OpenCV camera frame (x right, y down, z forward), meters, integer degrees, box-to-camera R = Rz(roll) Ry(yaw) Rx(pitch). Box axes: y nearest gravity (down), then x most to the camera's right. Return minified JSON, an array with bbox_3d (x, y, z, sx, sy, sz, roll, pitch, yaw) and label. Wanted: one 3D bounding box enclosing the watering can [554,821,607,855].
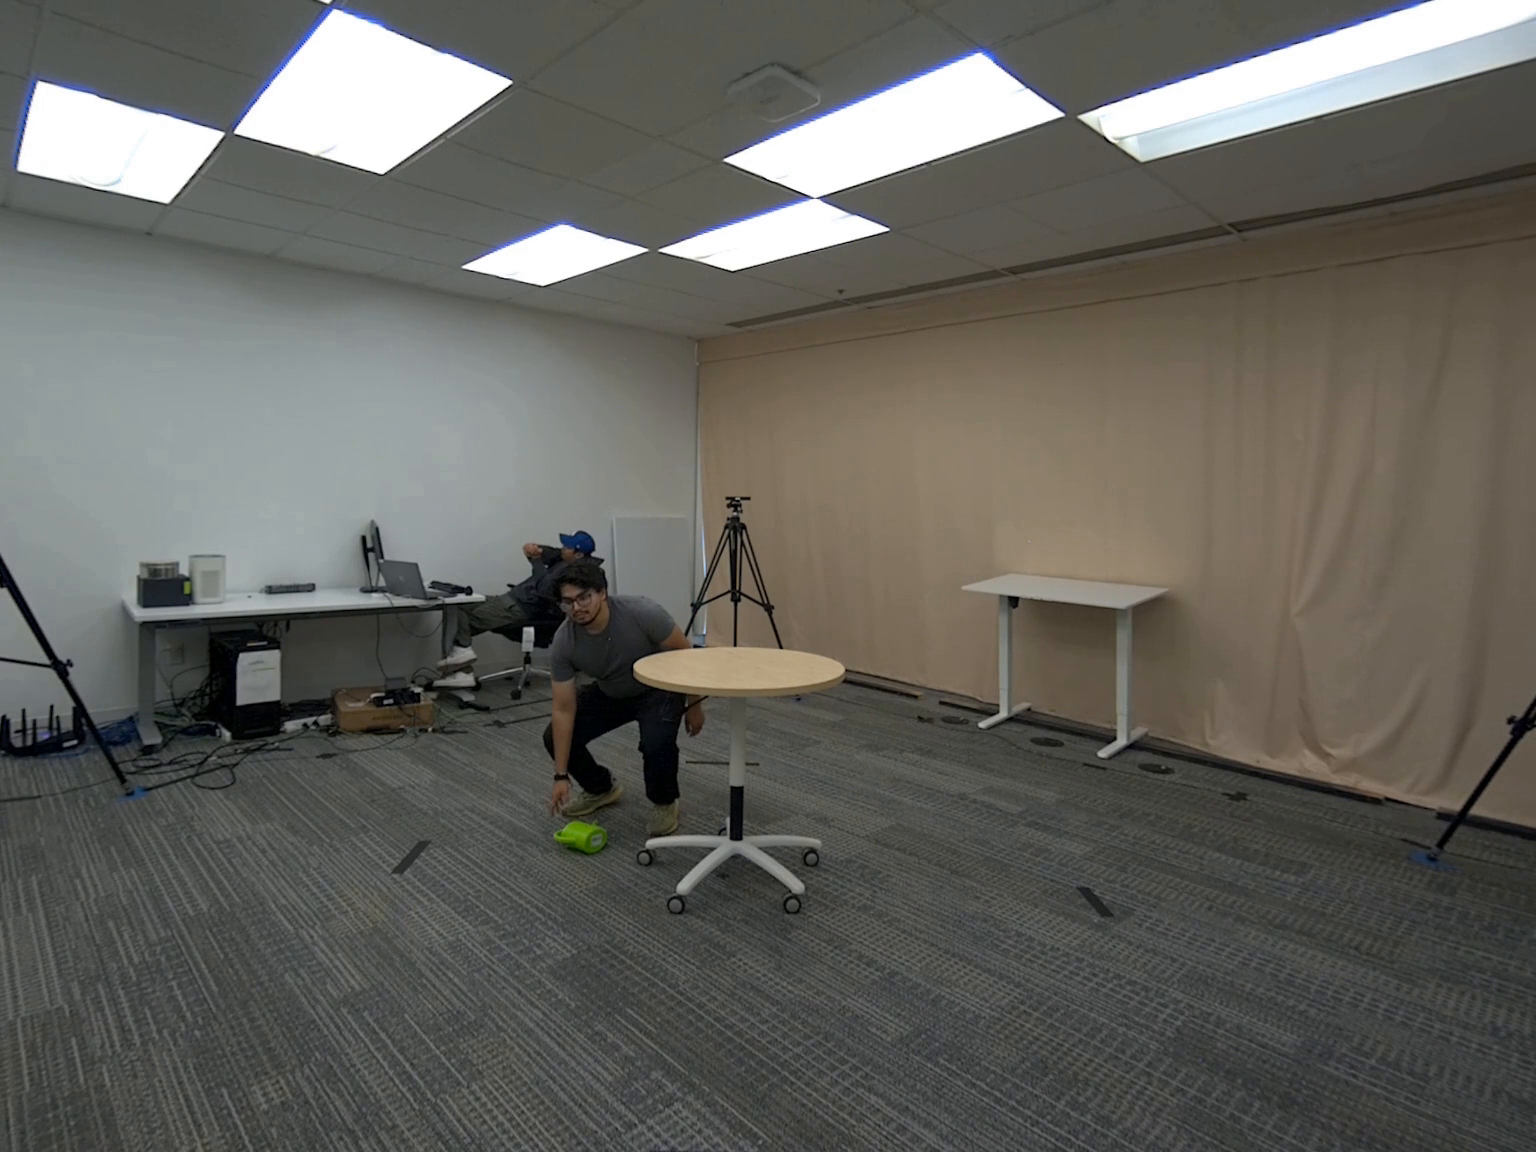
[{"bbox_3d":[-0.729,1.020,3.360,0.181,0.097,0.274,5,13,33],"label":"watering can"}]
